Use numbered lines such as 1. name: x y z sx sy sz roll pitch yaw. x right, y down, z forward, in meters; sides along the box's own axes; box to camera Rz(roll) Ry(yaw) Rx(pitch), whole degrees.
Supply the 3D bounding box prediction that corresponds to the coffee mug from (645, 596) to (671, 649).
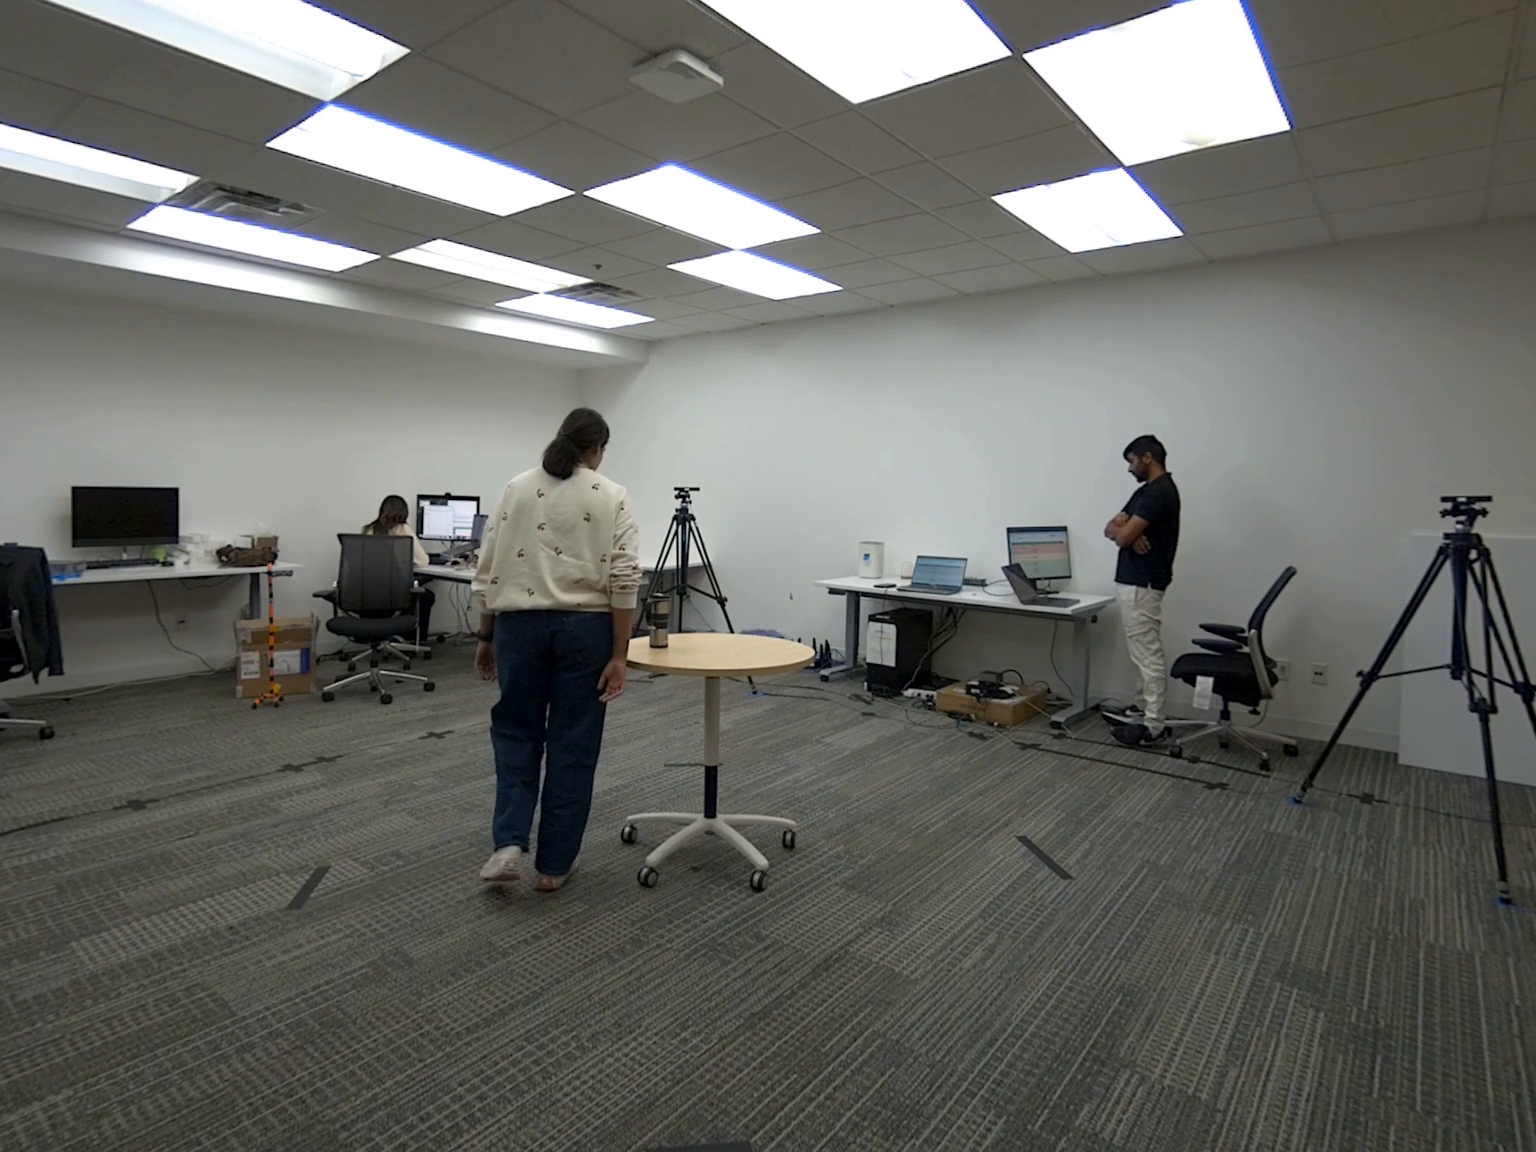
1. coffee mug: -0.439 0.171 3.230 0.118 0.202 0.091 4 3 -34
